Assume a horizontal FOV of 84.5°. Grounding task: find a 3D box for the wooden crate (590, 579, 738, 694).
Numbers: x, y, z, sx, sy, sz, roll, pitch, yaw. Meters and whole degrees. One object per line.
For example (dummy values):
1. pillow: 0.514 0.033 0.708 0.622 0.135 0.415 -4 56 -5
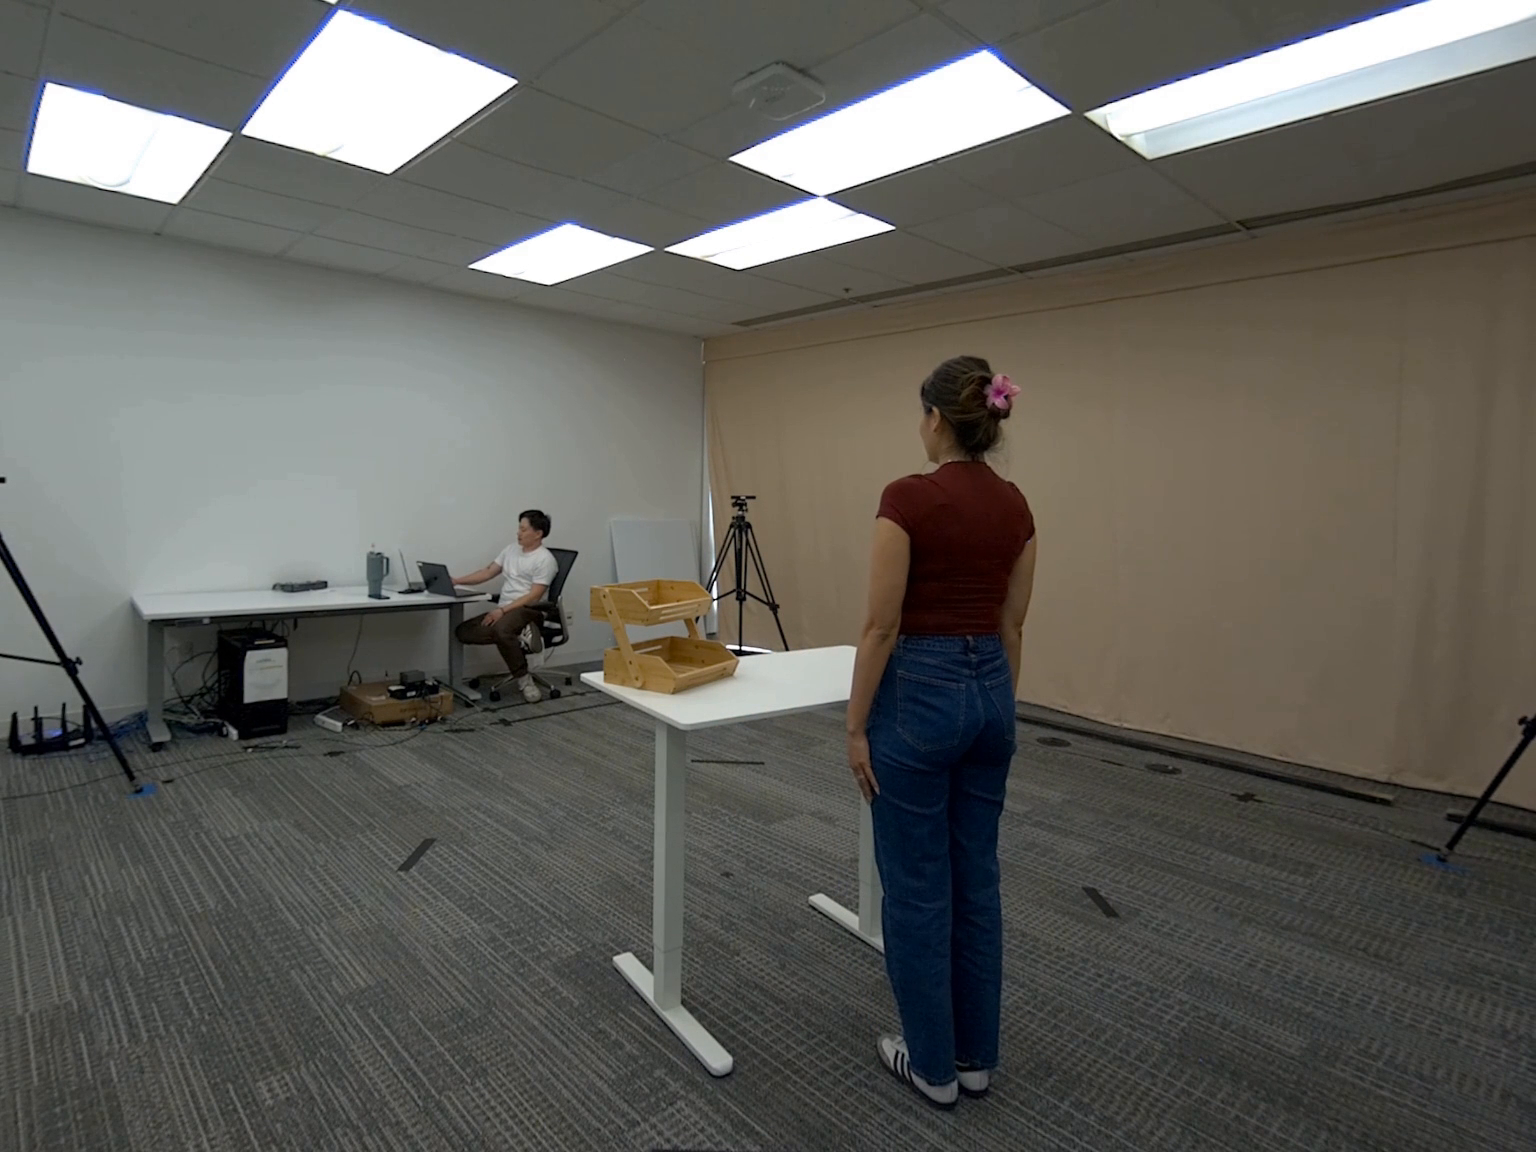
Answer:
1. wooden crate: -0.291 0.159 2.346 0.309 0.272 0.318 3 5 32
